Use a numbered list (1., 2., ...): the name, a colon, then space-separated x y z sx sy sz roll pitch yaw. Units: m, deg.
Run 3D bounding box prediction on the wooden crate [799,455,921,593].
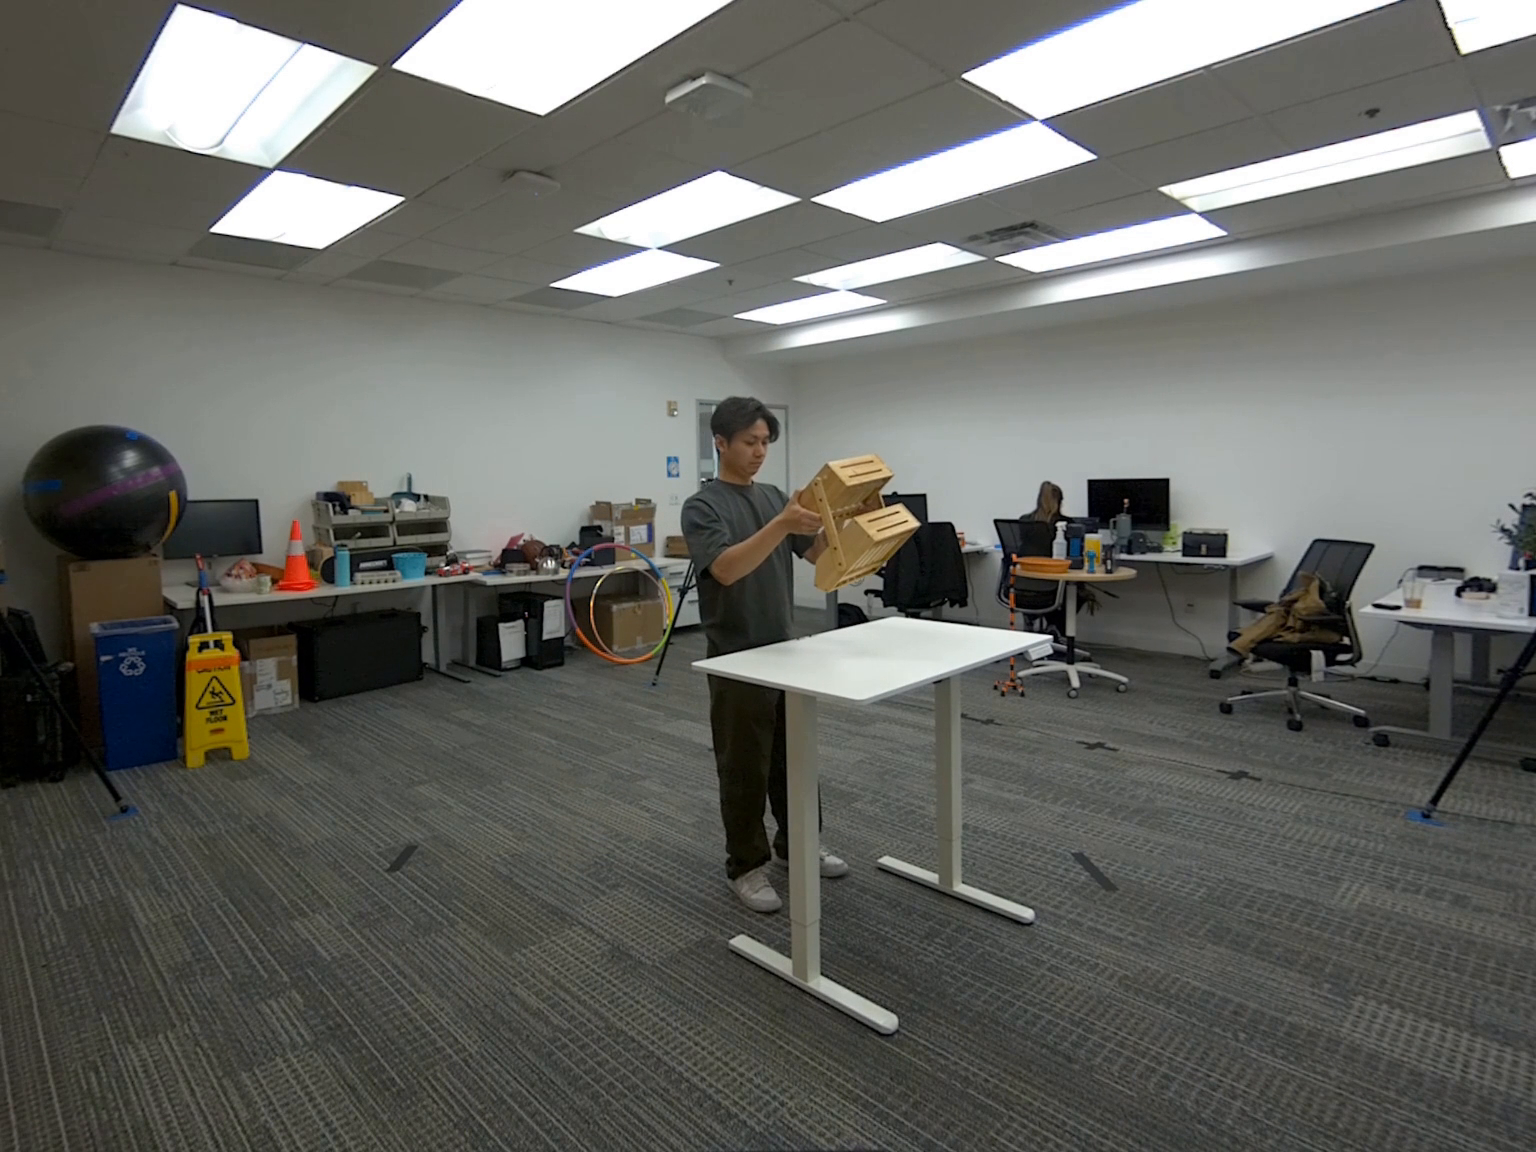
1. wooden crate: 0.248 -0.165 2.589 0.318 0.279 0.301 -17 -27 -52
